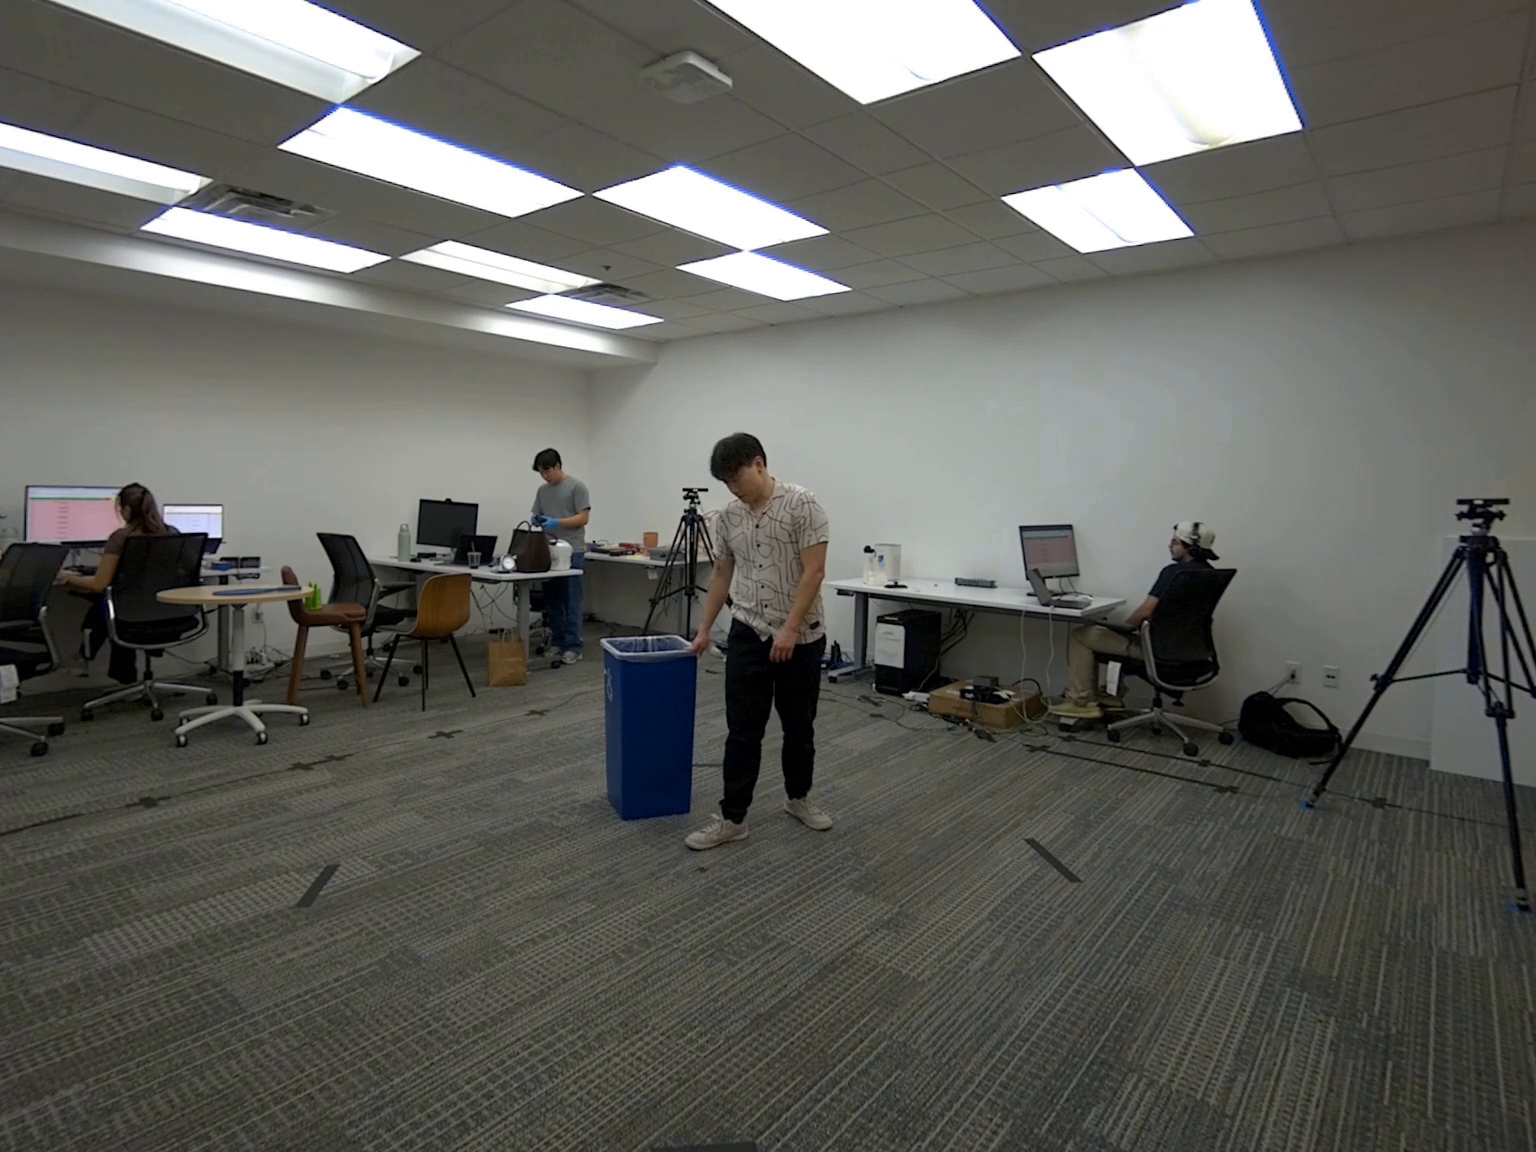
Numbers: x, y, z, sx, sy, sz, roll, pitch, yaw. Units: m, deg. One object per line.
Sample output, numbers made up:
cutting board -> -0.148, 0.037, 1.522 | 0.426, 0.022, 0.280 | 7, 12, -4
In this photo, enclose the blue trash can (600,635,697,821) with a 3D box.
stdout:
blue trash can -> -0.532, 0.648, 3.720 | 0.370, 0.711, 0.383 | -1, 4, -22
